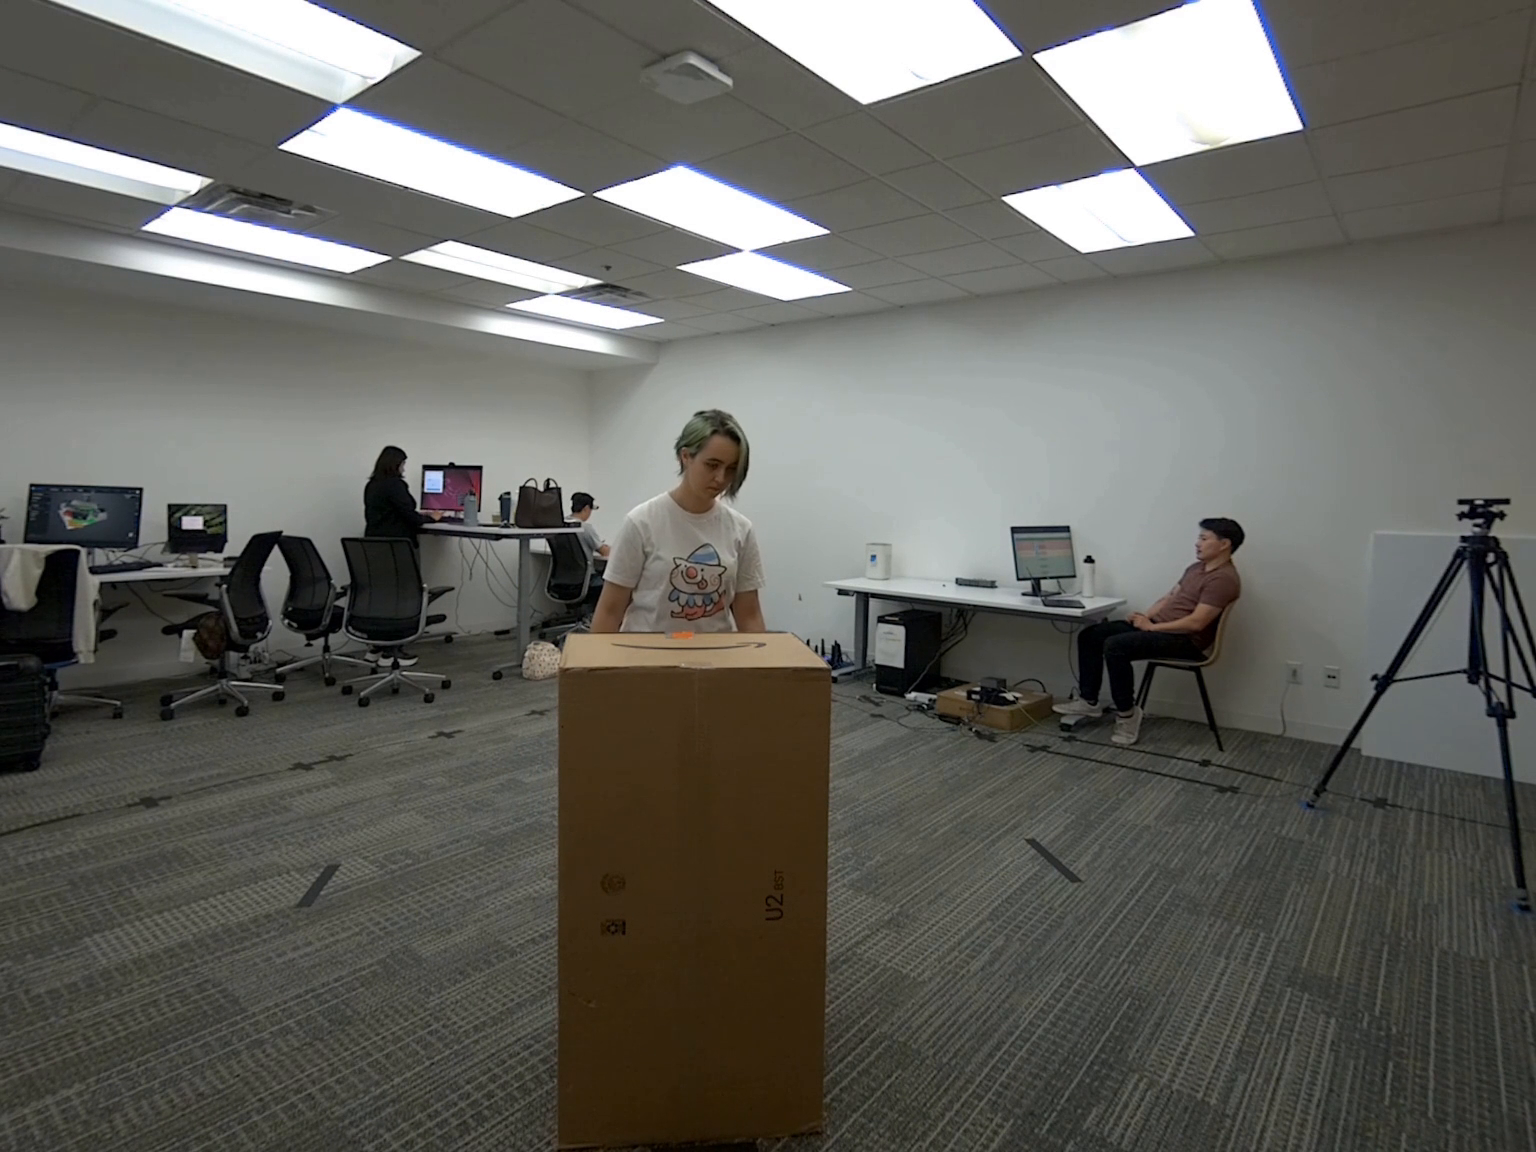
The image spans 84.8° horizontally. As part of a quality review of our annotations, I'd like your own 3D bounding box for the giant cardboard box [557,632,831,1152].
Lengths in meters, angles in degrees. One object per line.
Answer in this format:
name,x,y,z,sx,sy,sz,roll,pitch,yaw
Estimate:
giant cardboard box,-0.197,0.675,1.991,0.579,1.023,0.452,0,4,-8
